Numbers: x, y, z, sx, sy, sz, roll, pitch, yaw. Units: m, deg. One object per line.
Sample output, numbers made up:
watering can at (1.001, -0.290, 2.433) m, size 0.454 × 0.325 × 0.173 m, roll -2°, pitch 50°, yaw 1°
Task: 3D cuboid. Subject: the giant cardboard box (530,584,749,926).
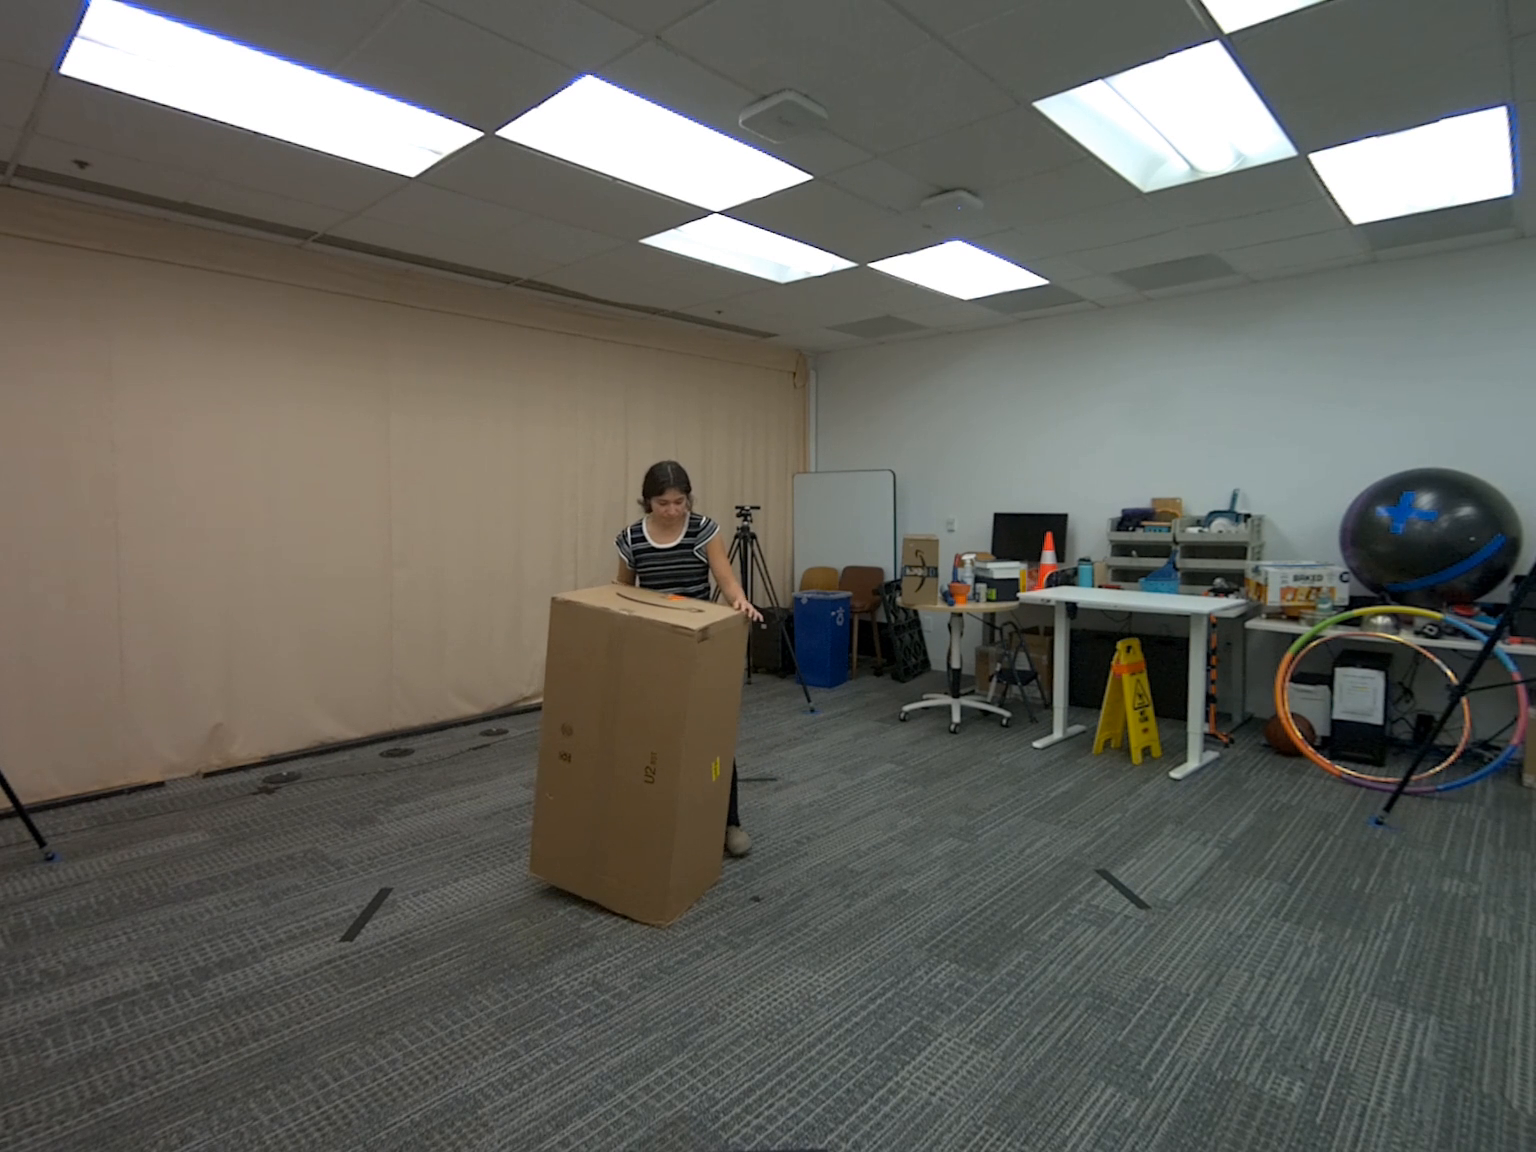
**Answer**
giant cardboard box at (-0.458, 0.603, 3.019) m, size 0.593 × 1.022 × 0.416 m, roll 10°, pitch 8°, yaw 24°
